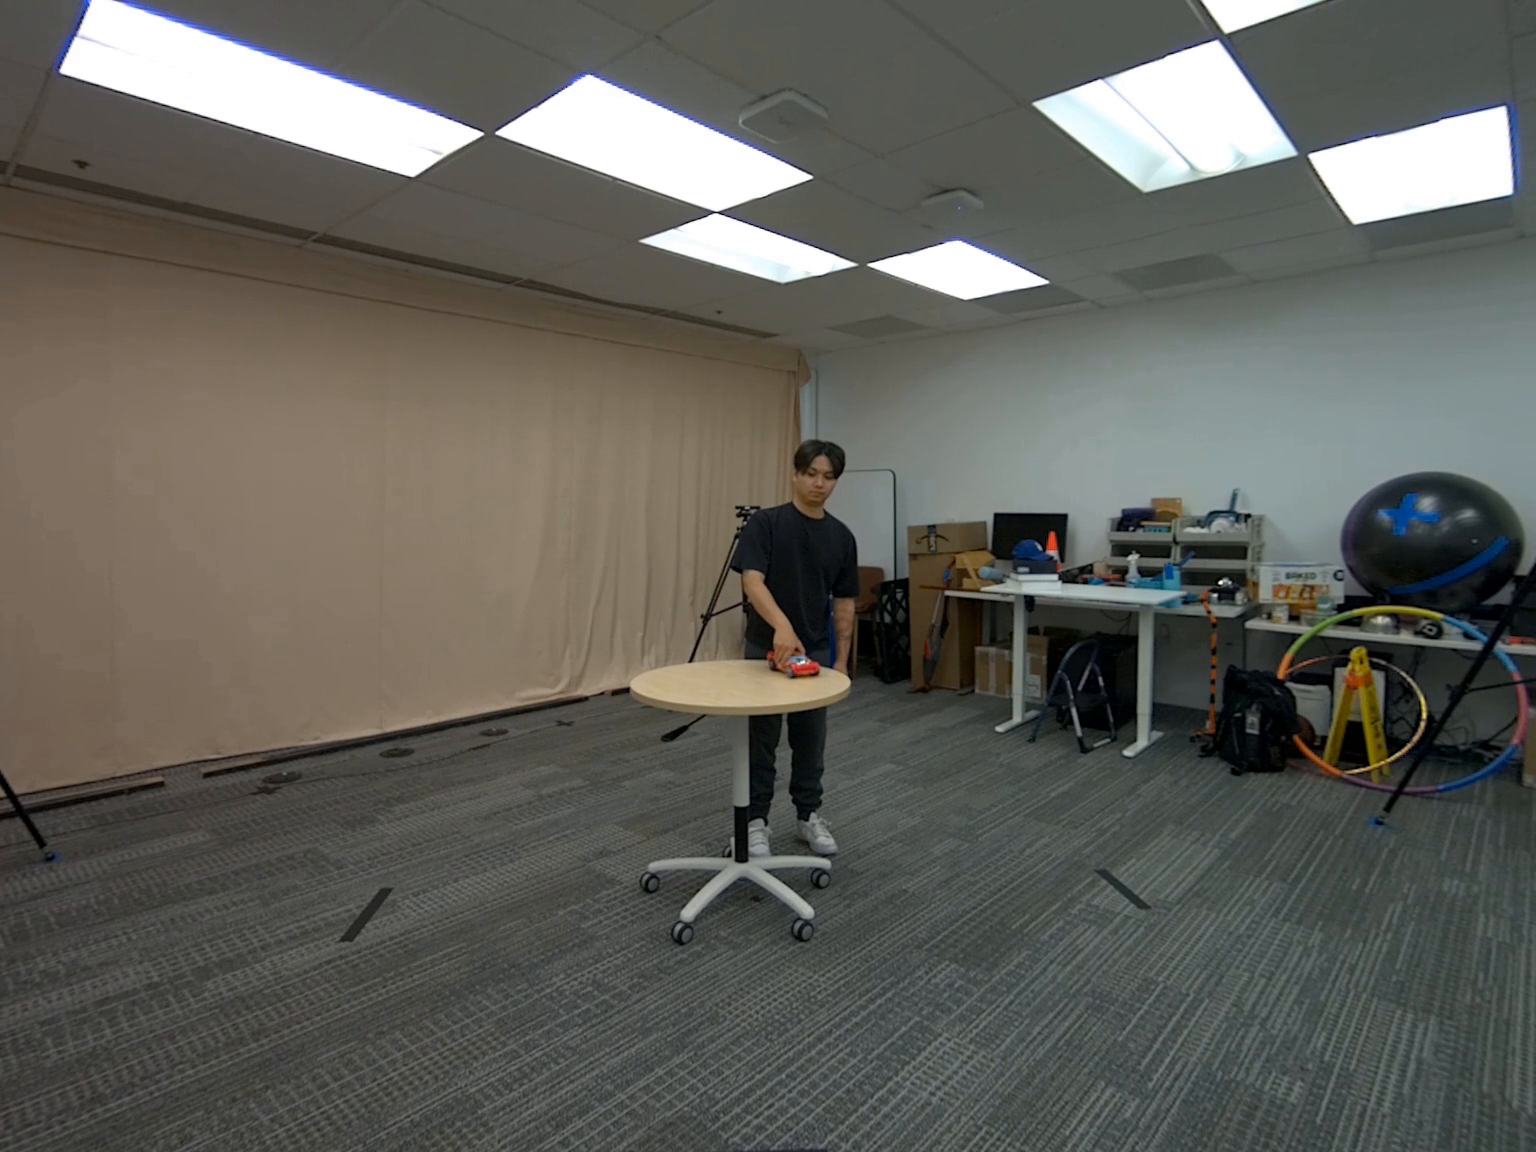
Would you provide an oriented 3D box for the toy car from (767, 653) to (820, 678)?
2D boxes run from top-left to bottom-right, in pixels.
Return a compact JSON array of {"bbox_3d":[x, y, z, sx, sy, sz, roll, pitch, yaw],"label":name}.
[{"bbox_3d":[0.079,0.317,3.072,0.127,0.082,0.262,-2,17,-23],"label":"toy car"}]
